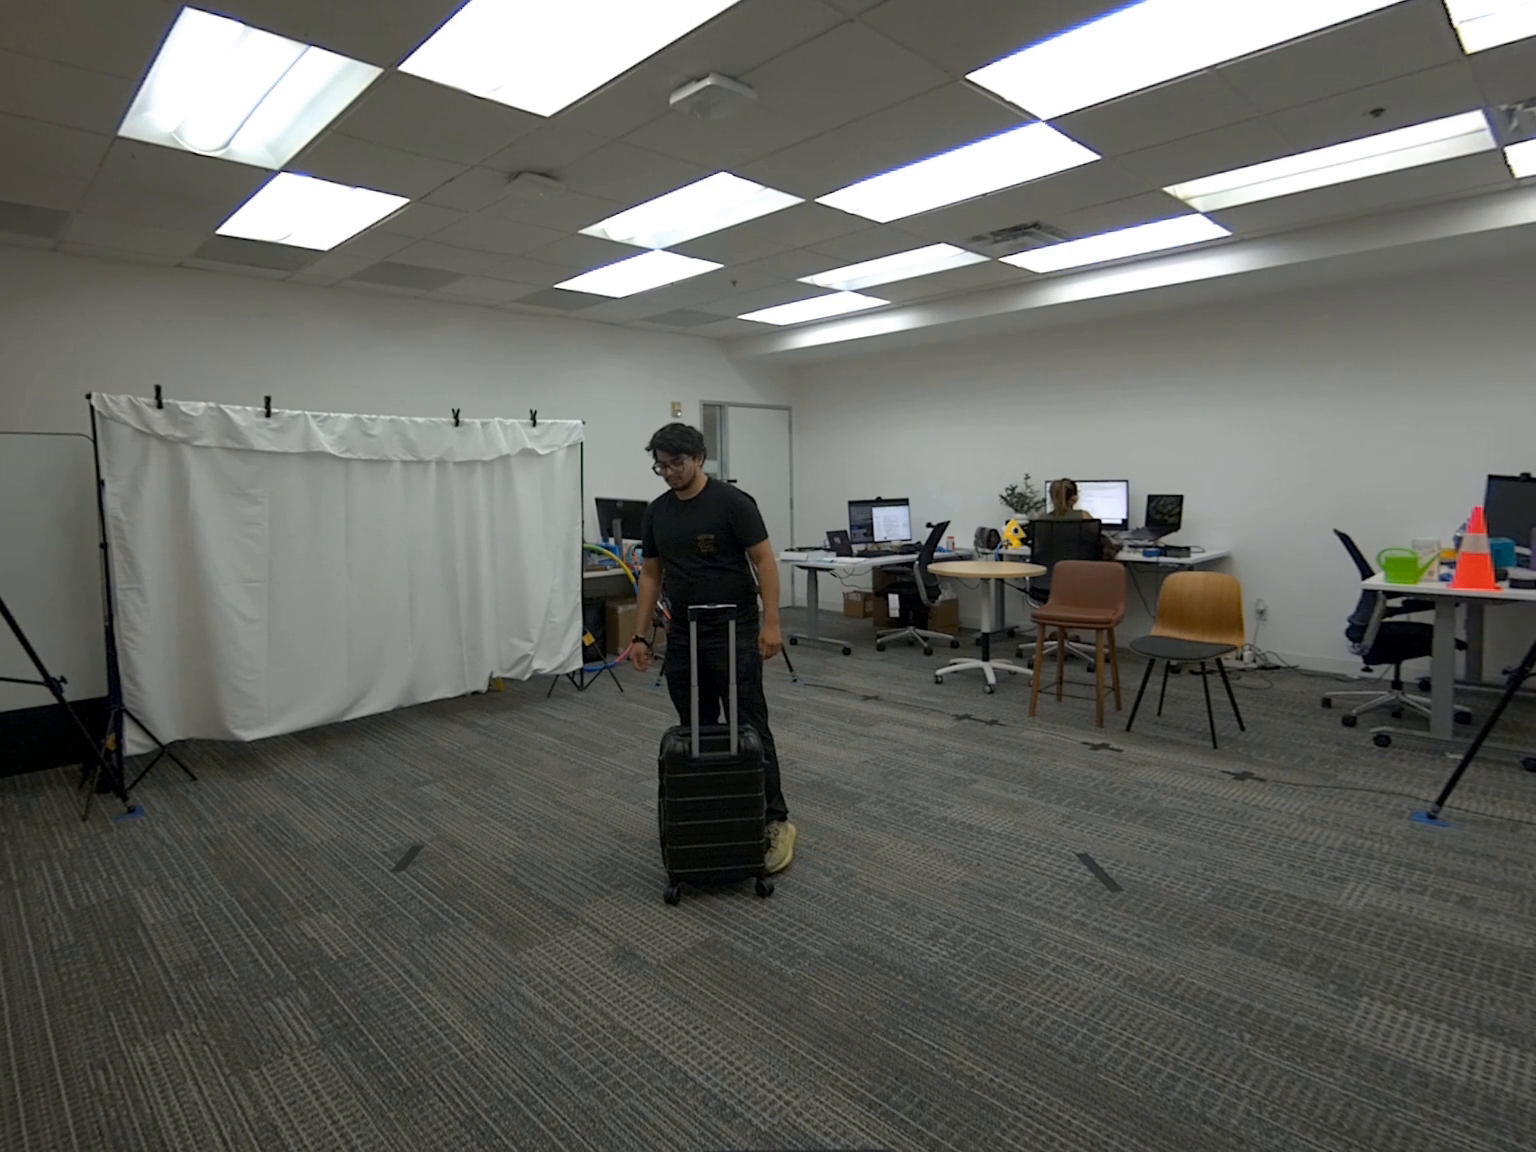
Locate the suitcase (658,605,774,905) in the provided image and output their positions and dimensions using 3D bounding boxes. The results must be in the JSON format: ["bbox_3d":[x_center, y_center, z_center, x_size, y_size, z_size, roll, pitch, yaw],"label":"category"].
[{"bbox_3d":[-0.203,0.591,2.950,0.382,0.975,0.259,-2,4,-6],"label":"suitcase"}]
